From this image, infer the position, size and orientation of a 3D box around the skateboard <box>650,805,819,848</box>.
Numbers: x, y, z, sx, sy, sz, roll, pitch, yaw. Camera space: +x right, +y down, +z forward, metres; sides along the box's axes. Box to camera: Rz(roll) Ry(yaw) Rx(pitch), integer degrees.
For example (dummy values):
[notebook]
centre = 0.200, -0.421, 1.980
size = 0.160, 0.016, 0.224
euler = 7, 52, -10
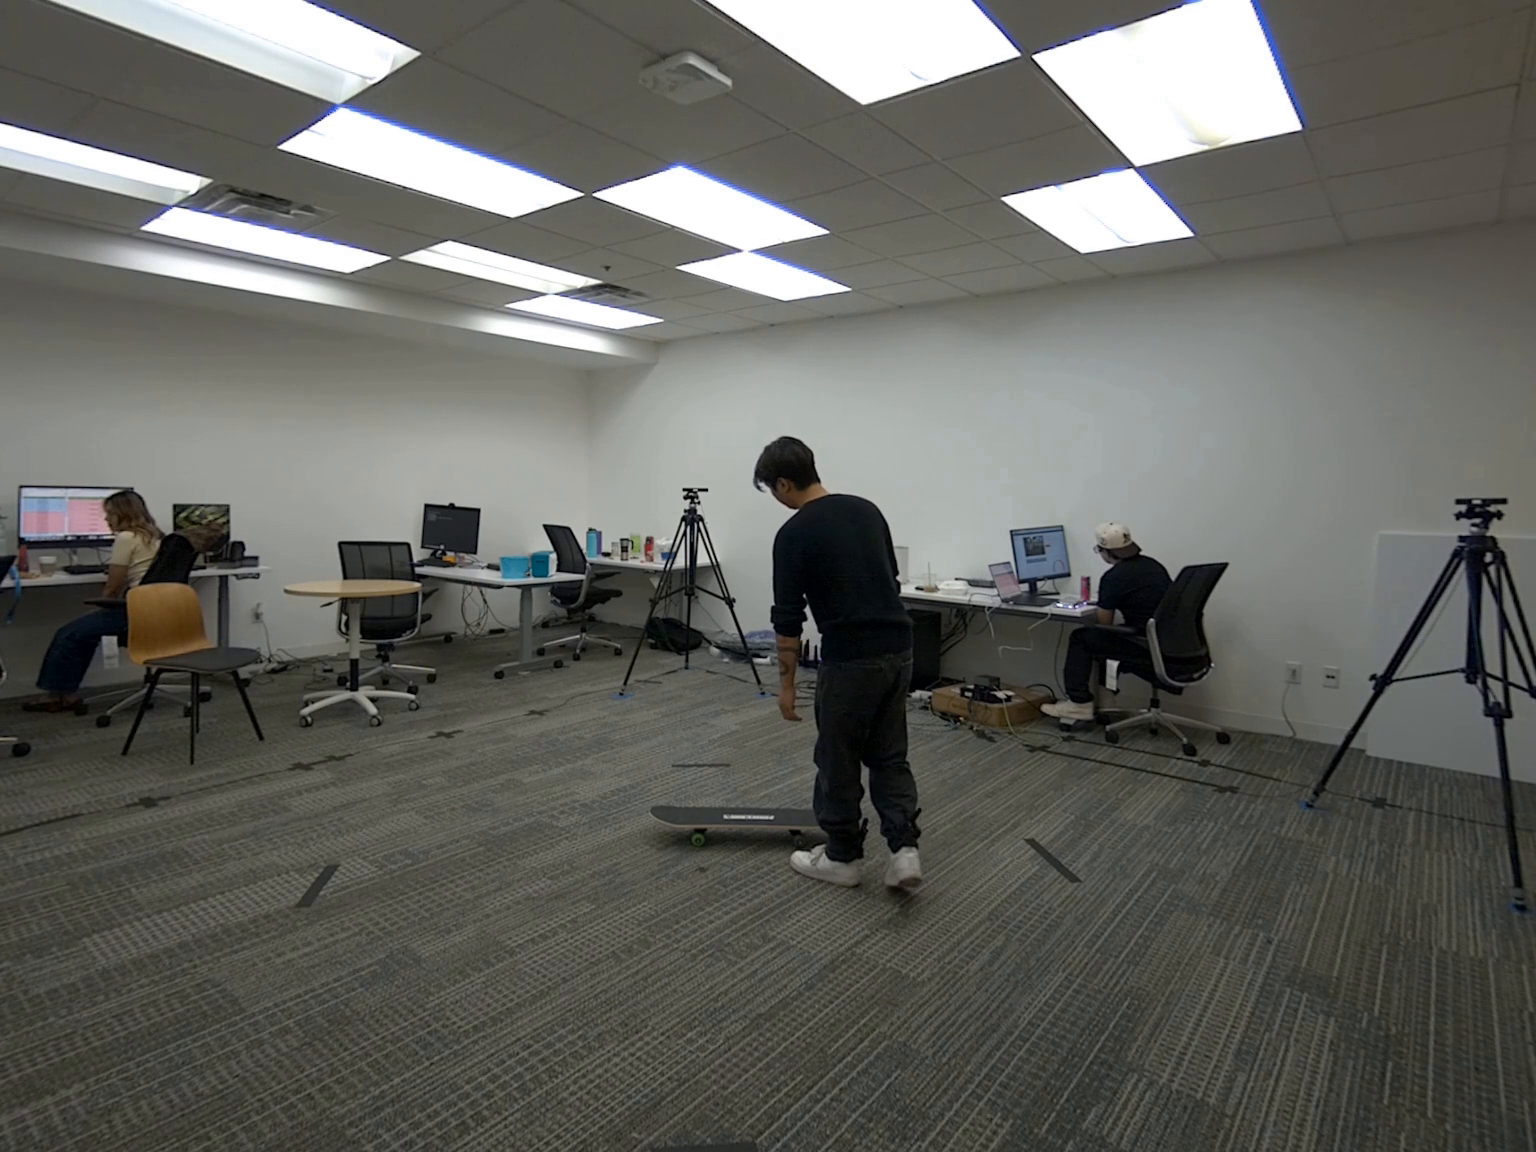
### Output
[skateboard]
centre = -0.091, 0.987, 3.394
size = 0.784, 0.110, 0.194
euler = 1, 4, -2
